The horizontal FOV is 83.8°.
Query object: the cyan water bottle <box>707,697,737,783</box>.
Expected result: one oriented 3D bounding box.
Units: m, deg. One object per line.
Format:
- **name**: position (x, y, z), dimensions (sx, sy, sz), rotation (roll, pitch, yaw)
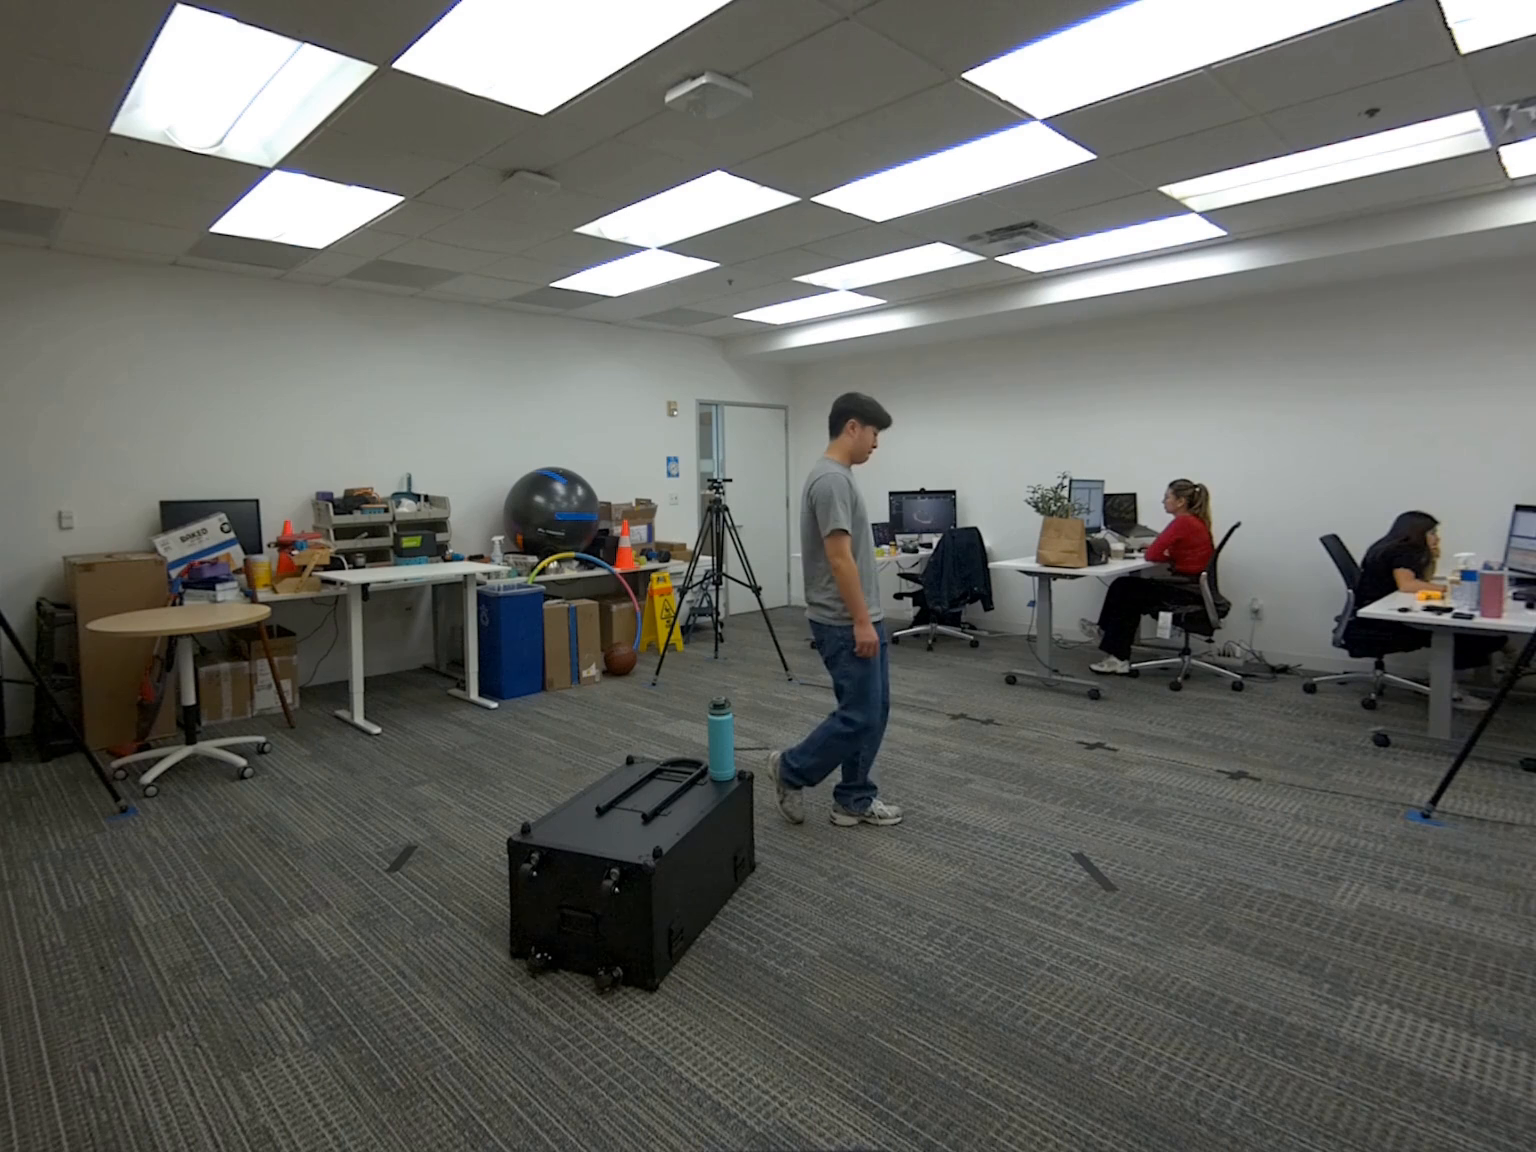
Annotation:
- **cyan water bottle**: position (-0.163, 0.561, 2.979), dimensions (0.092, 0.282, 0.093), rotation (-3, 4, -1)
